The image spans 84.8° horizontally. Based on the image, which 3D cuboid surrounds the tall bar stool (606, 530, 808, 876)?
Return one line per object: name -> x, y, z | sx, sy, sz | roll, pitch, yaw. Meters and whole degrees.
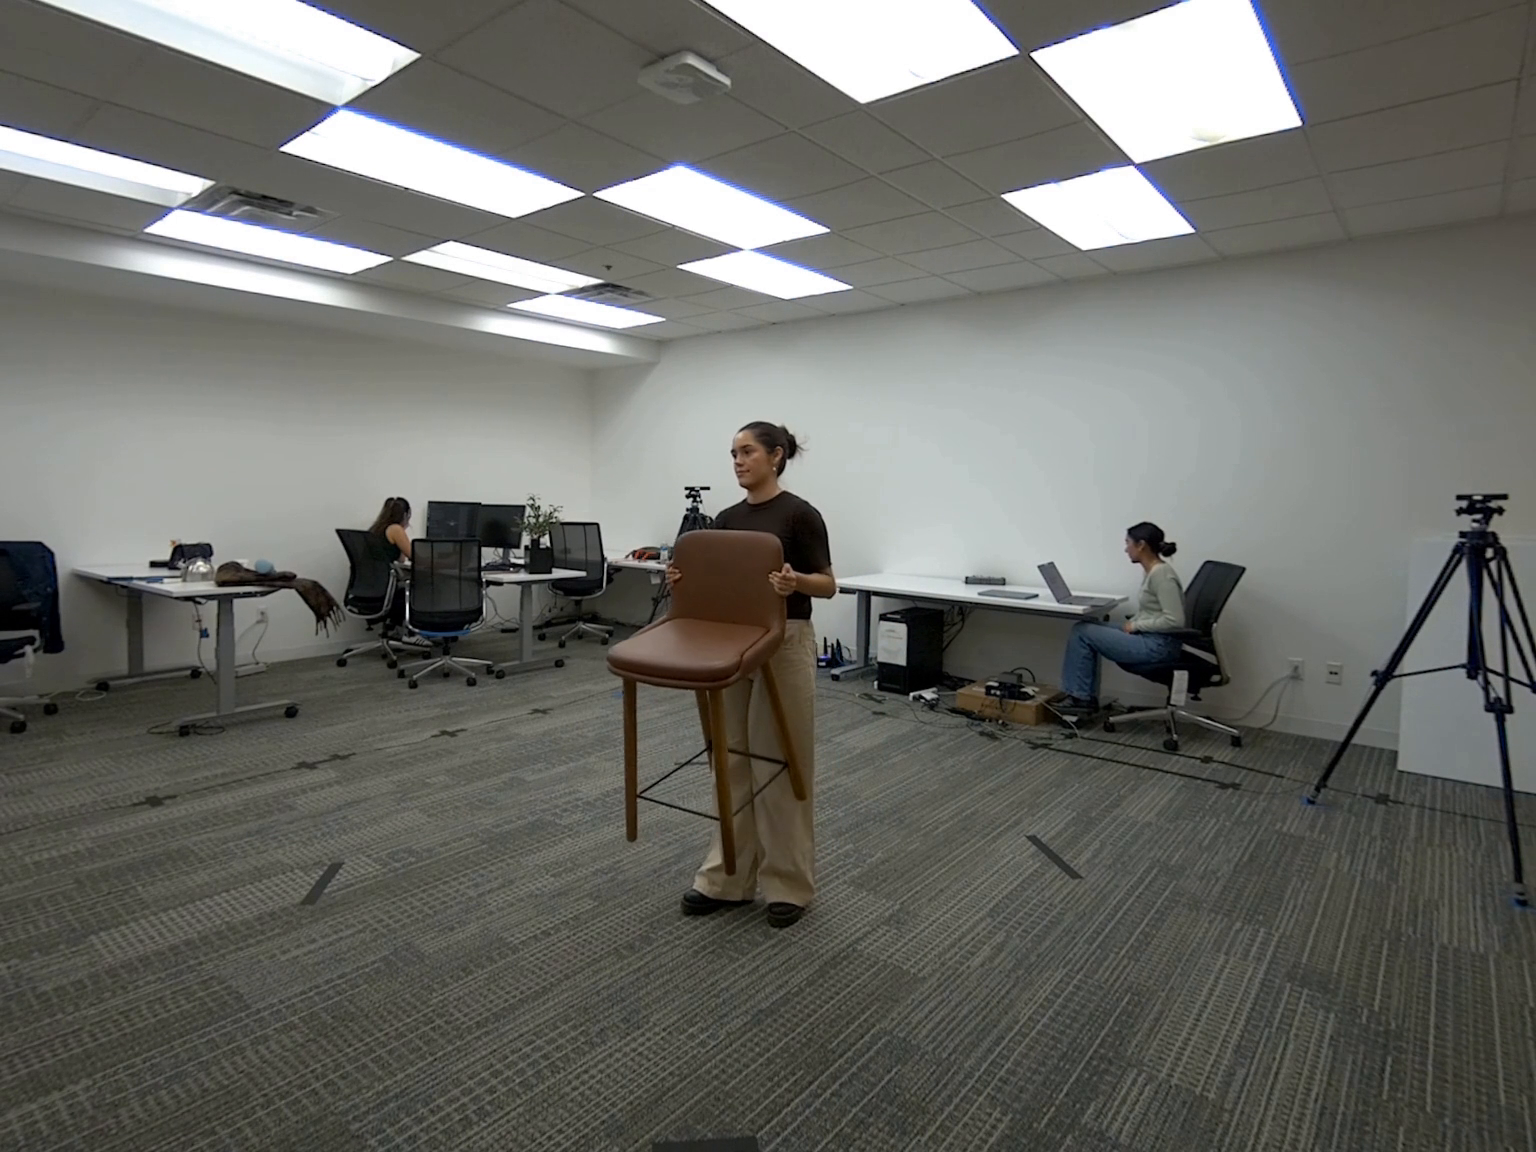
tall bar stool -> -0.202, 0.347, 2.571 | 0.471, 0.880, 0.458 | 3, 14, 35
